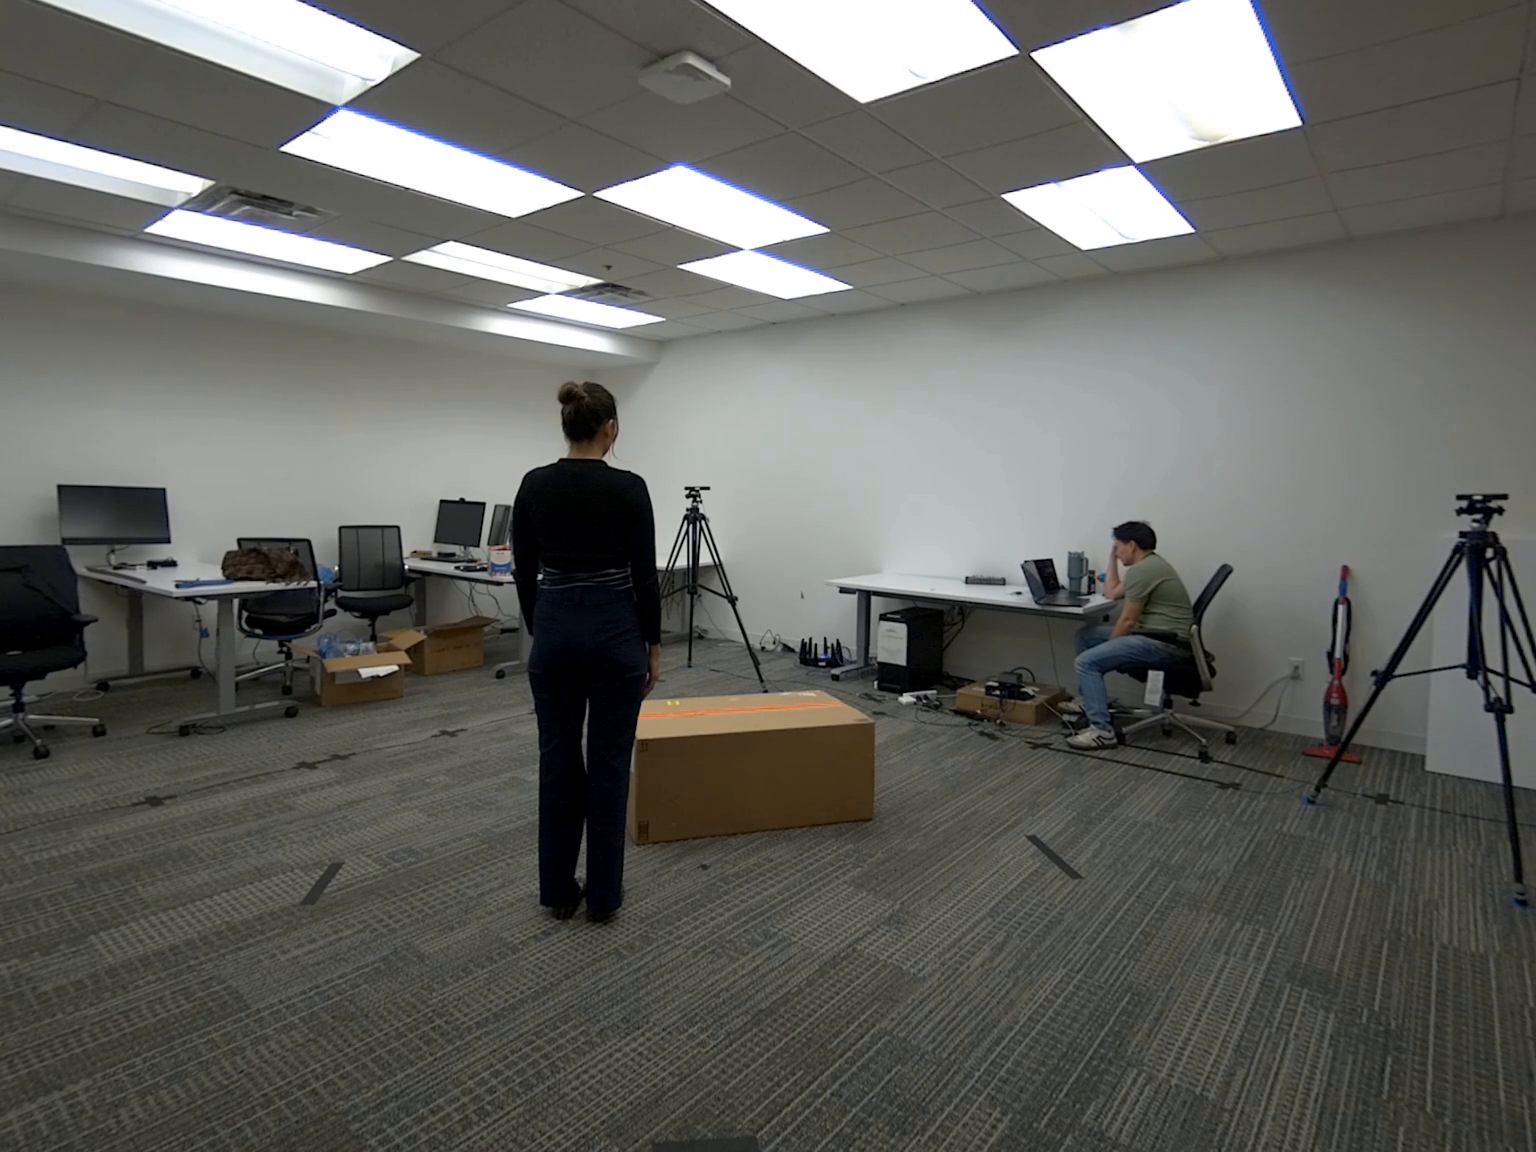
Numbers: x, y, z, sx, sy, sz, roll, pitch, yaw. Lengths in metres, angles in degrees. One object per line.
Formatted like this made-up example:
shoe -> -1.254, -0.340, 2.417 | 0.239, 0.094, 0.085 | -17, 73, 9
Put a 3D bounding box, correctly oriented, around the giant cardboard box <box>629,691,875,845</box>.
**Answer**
giant cardboard box -> -0.136, 0.791, 3.702 | 1.008, 0.425, 0.590 | -1, 4, -18
